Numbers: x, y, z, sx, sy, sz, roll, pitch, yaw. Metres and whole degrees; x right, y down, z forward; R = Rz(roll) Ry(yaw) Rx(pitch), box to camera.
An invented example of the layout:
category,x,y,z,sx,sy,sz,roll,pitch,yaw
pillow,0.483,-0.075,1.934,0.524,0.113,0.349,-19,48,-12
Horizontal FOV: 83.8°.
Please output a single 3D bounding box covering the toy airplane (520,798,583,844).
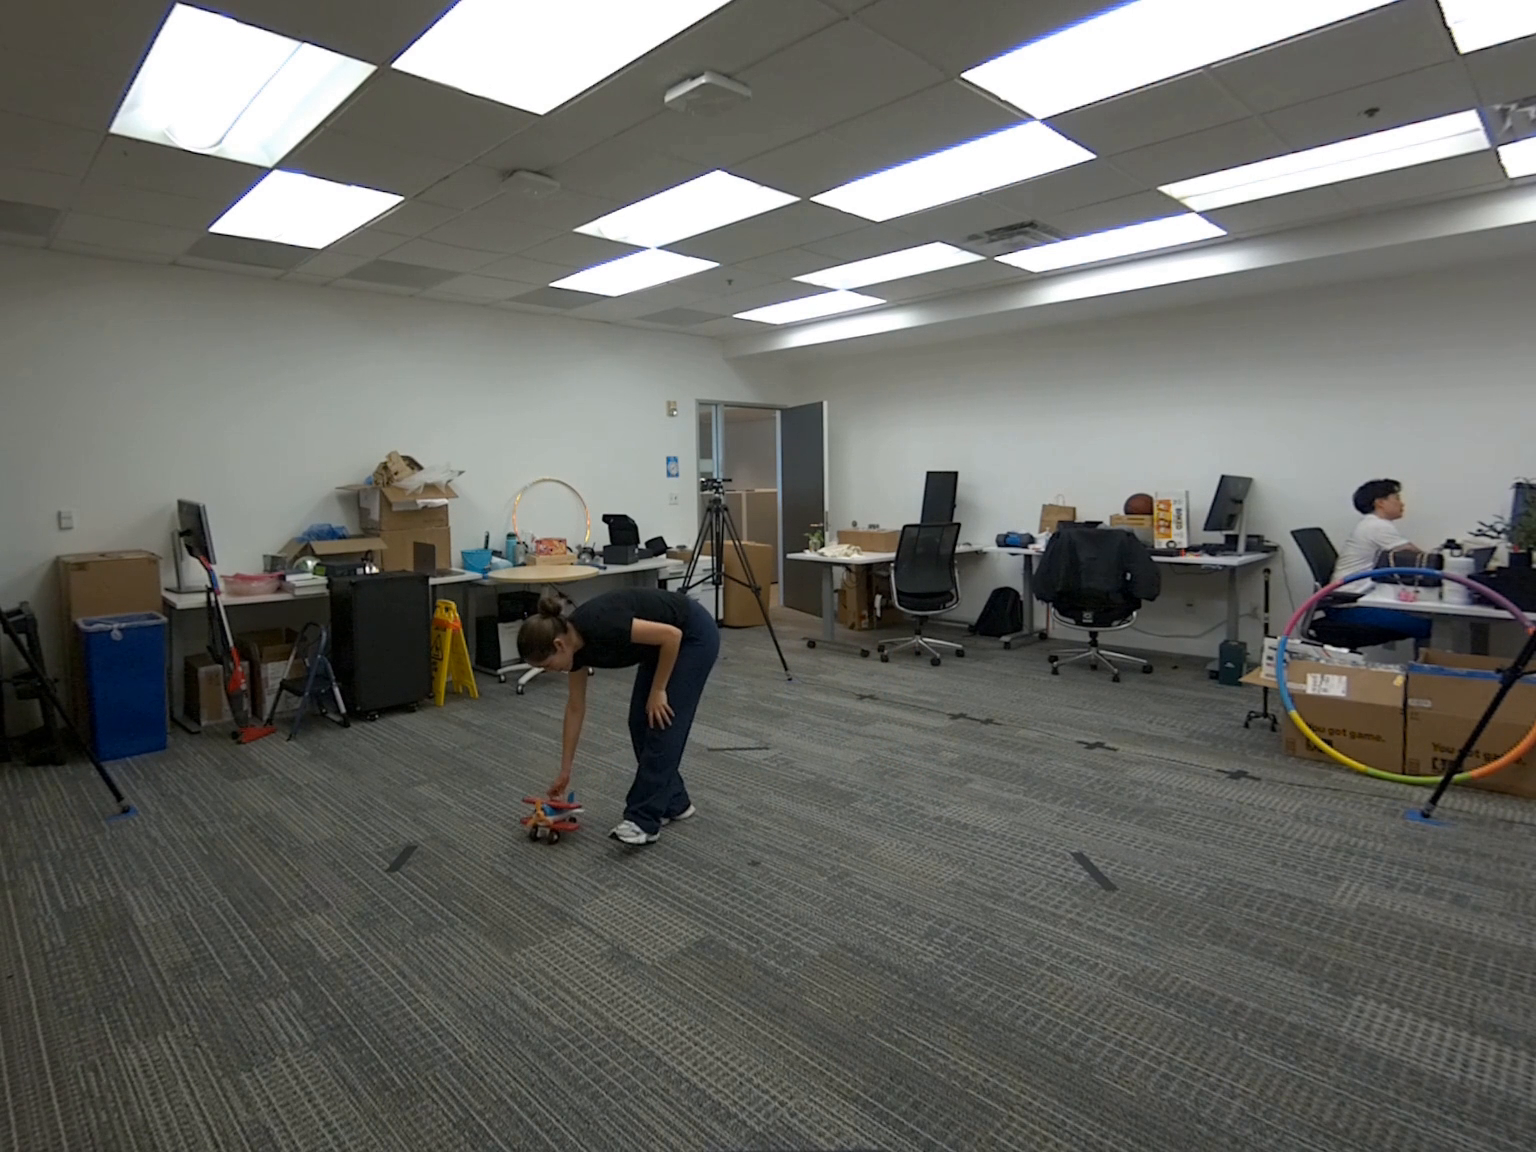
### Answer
category,x,y,z,sx,sy,sz,roll,pitch,yaw
toy airplane,-0.864,0.952,3.418,0.249,0.155,0.263,-2,7,-8
